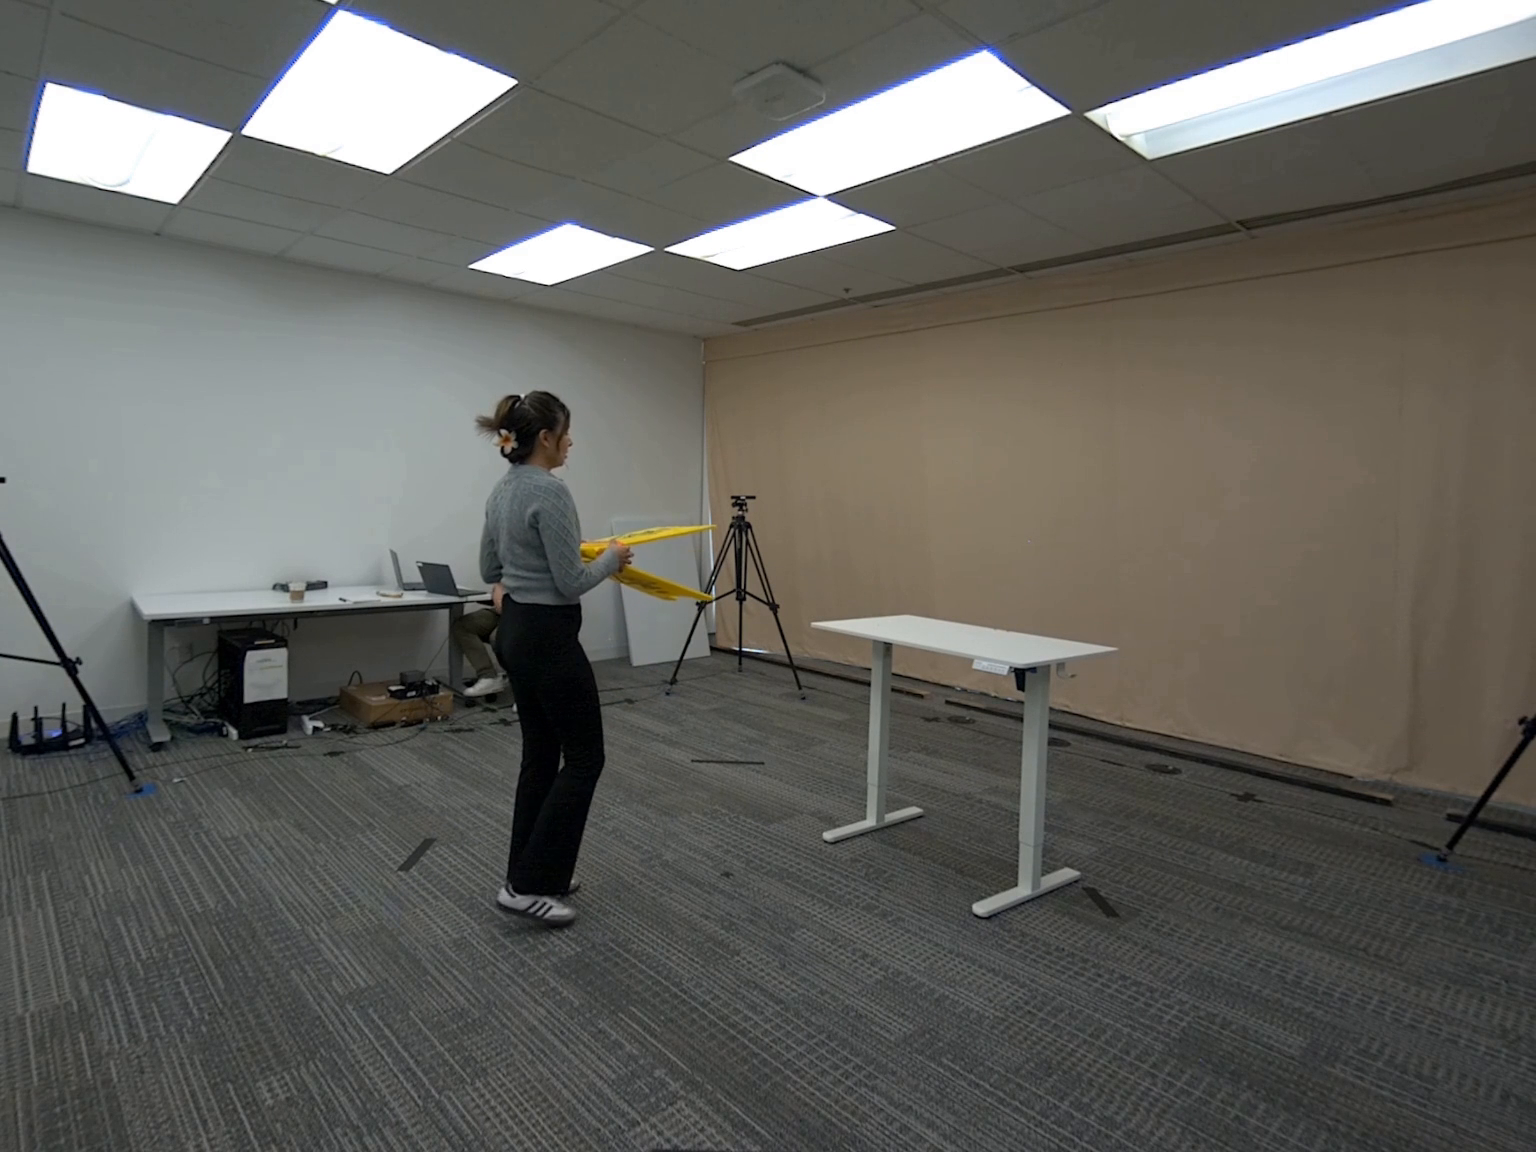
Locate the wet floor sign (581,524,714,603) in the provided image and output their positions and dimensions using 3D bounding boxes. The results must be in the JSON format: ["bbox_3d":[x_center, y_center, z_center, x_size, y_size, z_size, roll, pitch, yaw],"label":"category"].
[{"bbox_3d":[-0.514,-0.064,3.162,0.288,0.290,0.630,-1,-4,38],"label":"wet floor sign"}]
